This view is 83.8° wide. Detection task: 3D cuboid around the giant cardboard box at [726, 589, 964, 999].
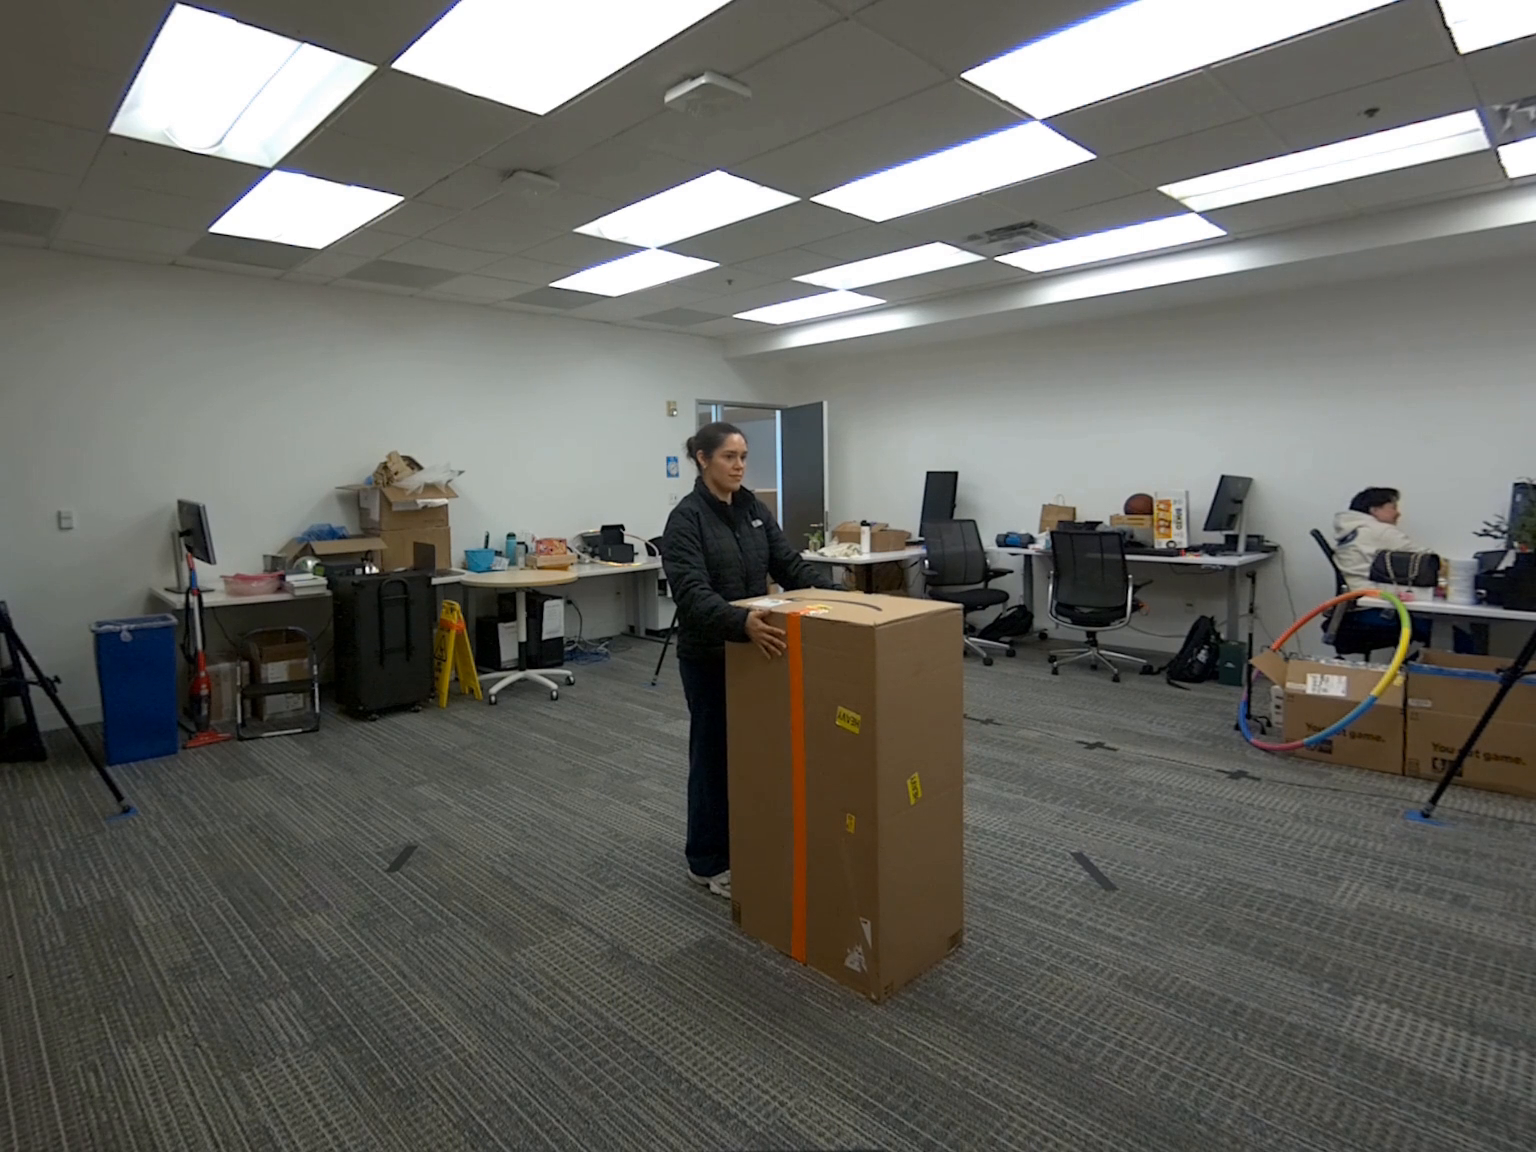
[{"bbox_3d":[0.232,0.593,2.581,0.415,1.022,0.595,-5,6,-45],"label":"giant cardboard box"}]
